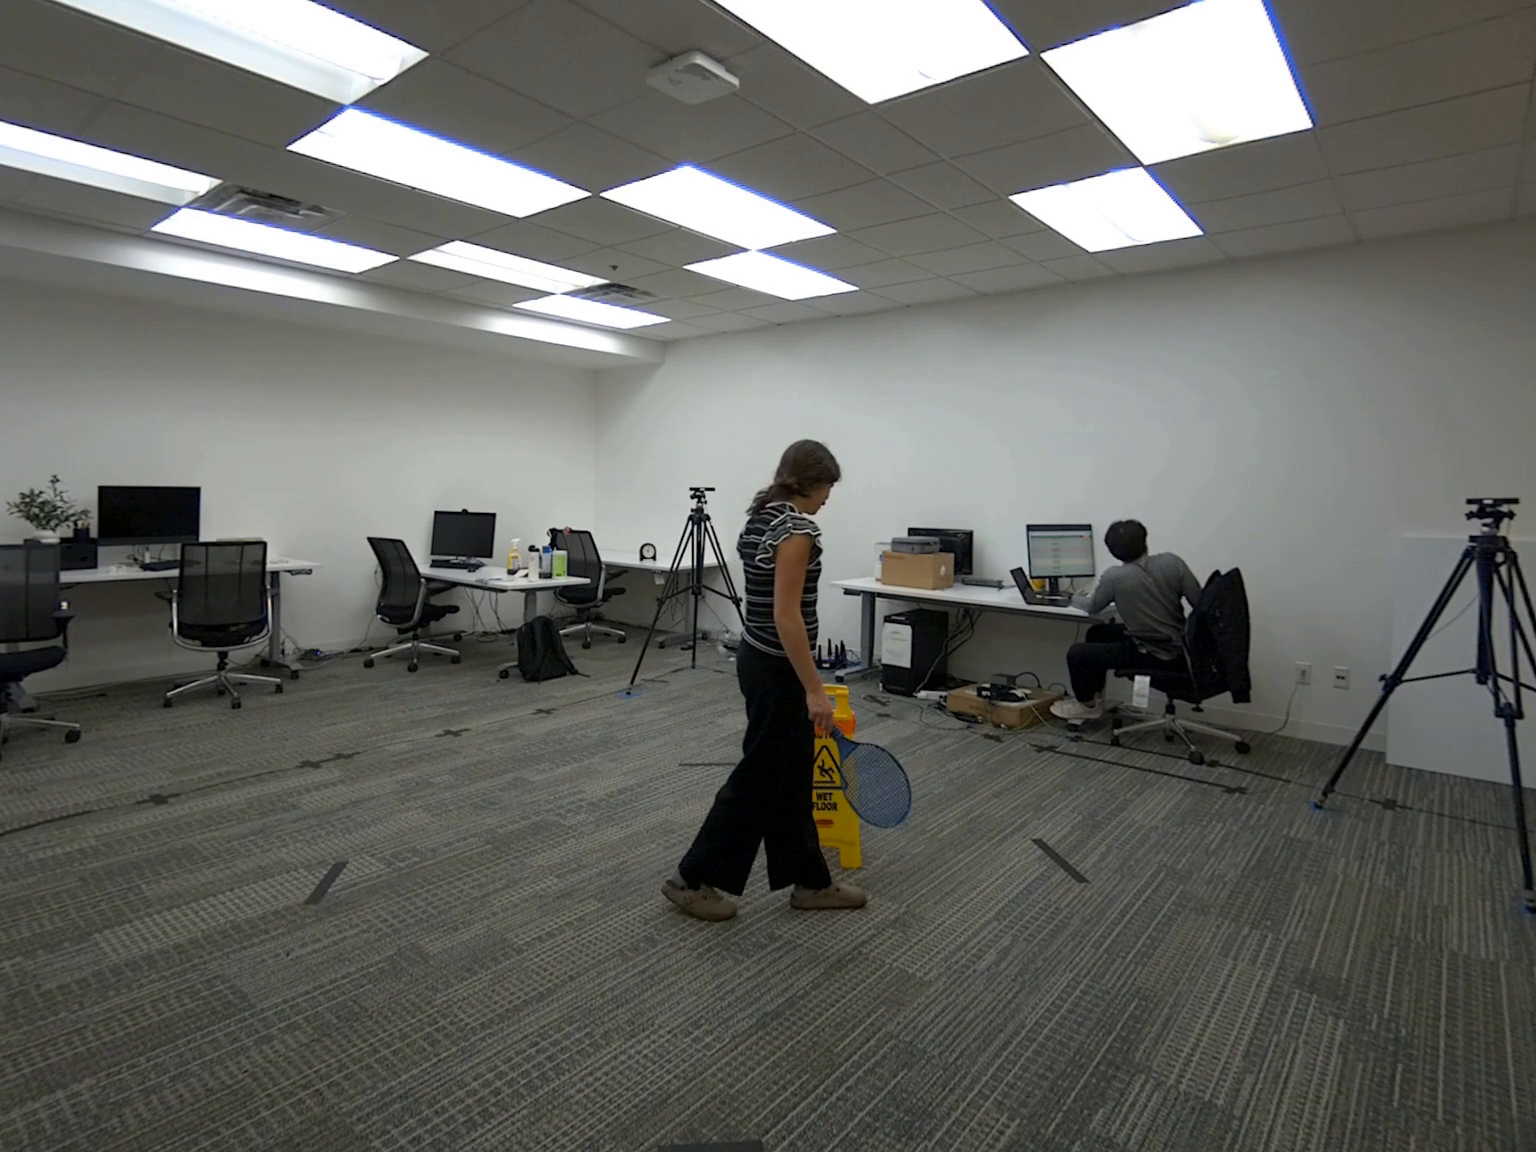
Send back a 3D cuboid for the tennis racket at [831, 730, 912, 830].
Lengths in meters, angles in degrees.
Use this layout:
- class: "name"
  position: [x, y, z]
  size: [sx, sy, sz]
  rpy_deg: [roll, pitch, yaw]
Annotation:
- class: "tennis racket"
  position: [0.272, 0.557, 2.580]
  size: [0.213, 0.430, 0.032]
  rpy_deg: [-36, 4, -16]
